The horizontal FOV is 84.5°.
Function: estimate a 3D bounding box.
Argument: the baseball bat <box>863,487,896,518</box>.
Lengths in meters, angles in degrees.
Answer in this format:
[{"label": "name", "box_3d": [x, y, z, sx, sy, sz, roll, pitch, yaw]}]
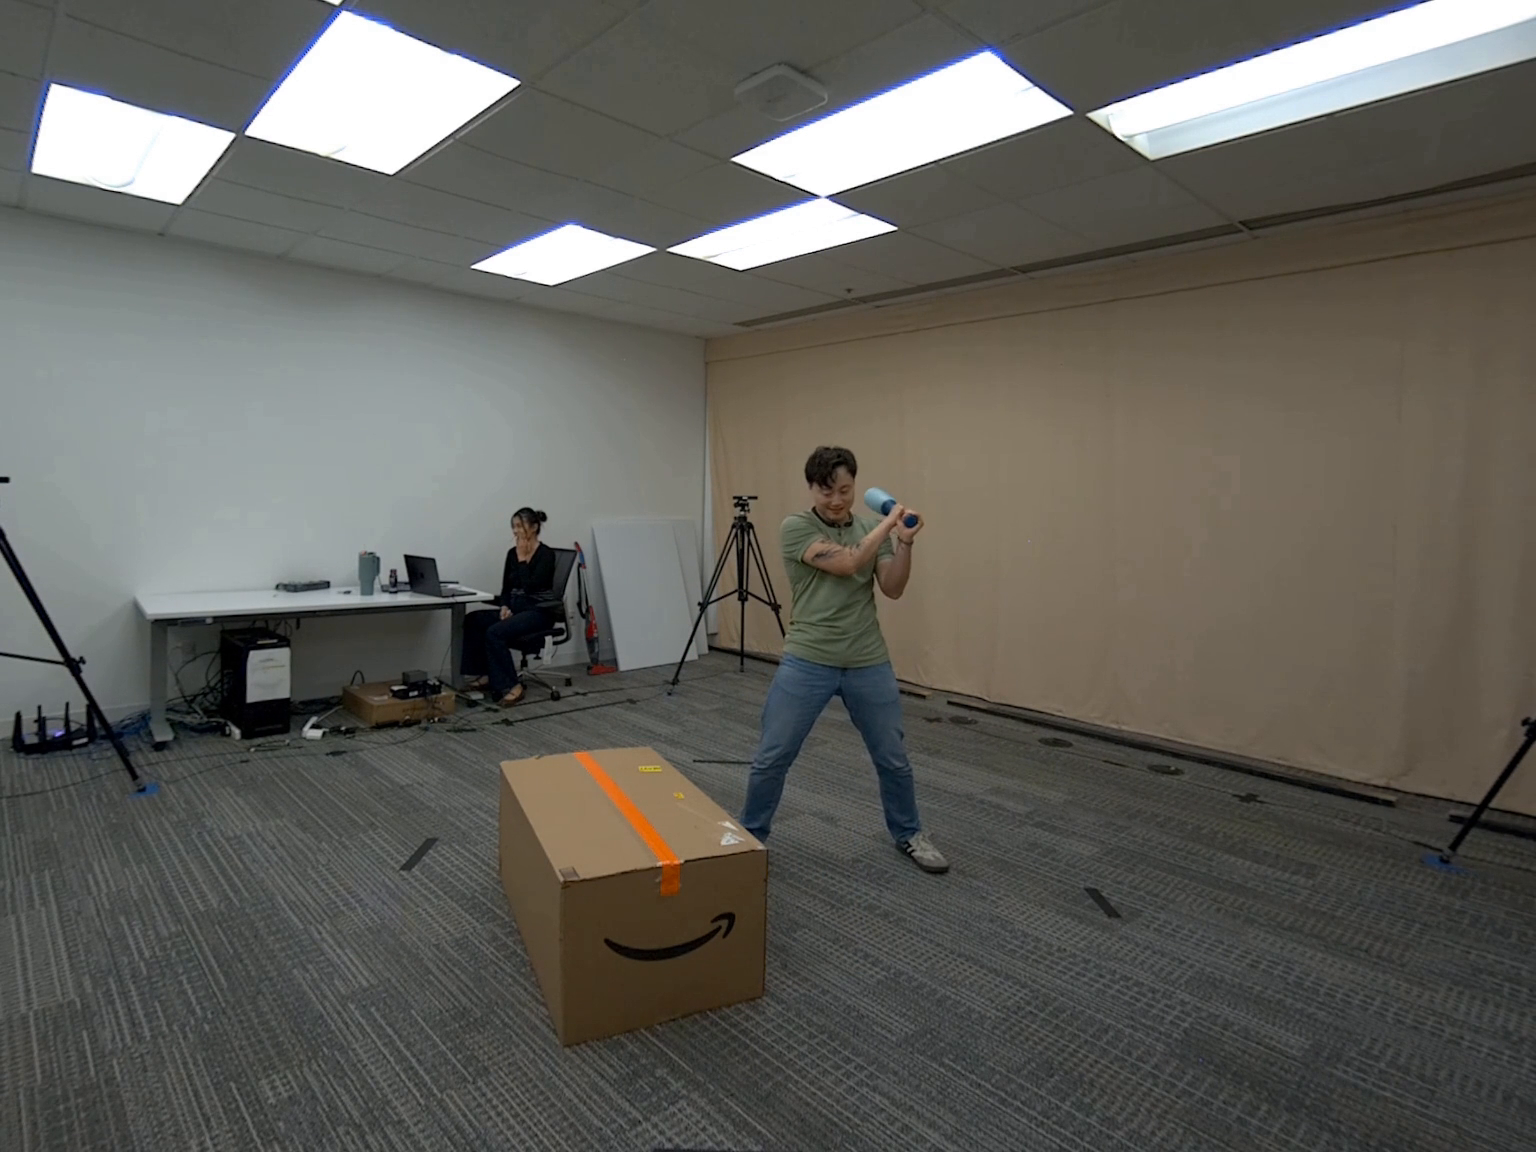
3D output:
[{"label": "baseball bat", "box_3d": [0.464, -0.271, 3.244, 0.089, 0.088, 0.550, 1, 16, -4]}]
